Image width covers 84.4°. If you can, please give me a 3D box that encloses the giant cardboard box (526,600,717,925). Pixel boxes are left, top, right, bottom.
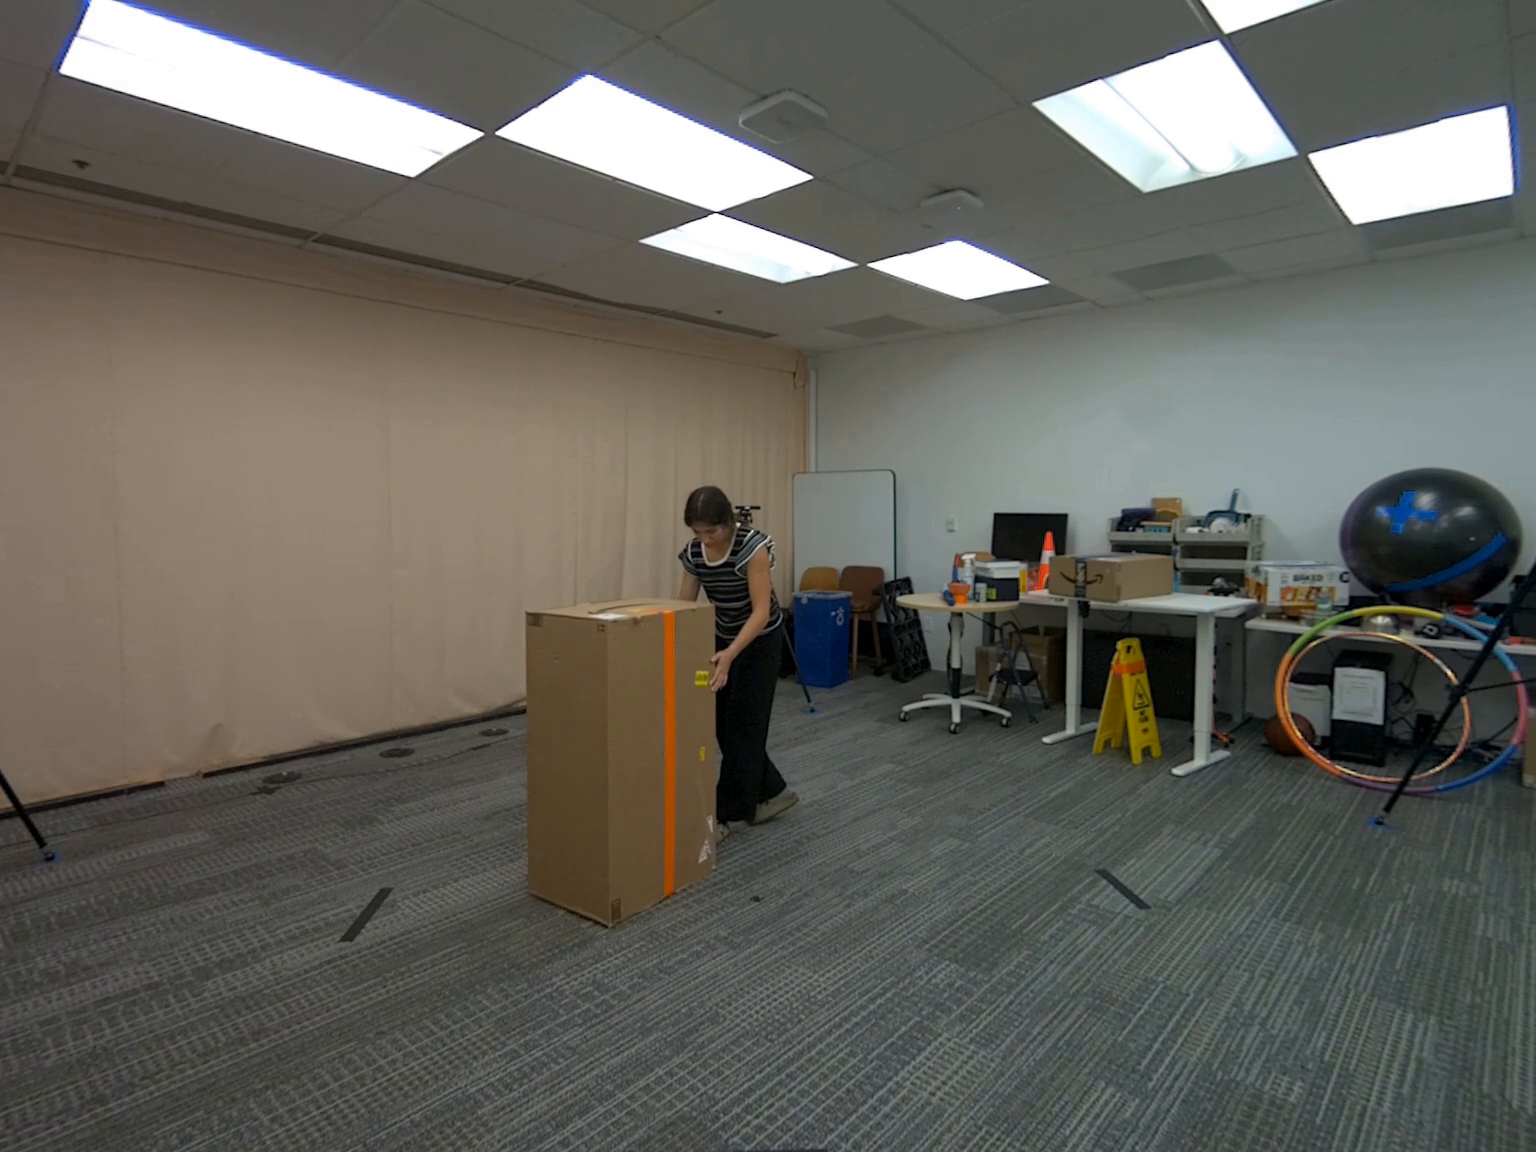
[{"bbox_3d":[-0.534,0.627,3.108,0.440,1.024,0.560,2,3,36],"label":"giant cardboard box"}]
